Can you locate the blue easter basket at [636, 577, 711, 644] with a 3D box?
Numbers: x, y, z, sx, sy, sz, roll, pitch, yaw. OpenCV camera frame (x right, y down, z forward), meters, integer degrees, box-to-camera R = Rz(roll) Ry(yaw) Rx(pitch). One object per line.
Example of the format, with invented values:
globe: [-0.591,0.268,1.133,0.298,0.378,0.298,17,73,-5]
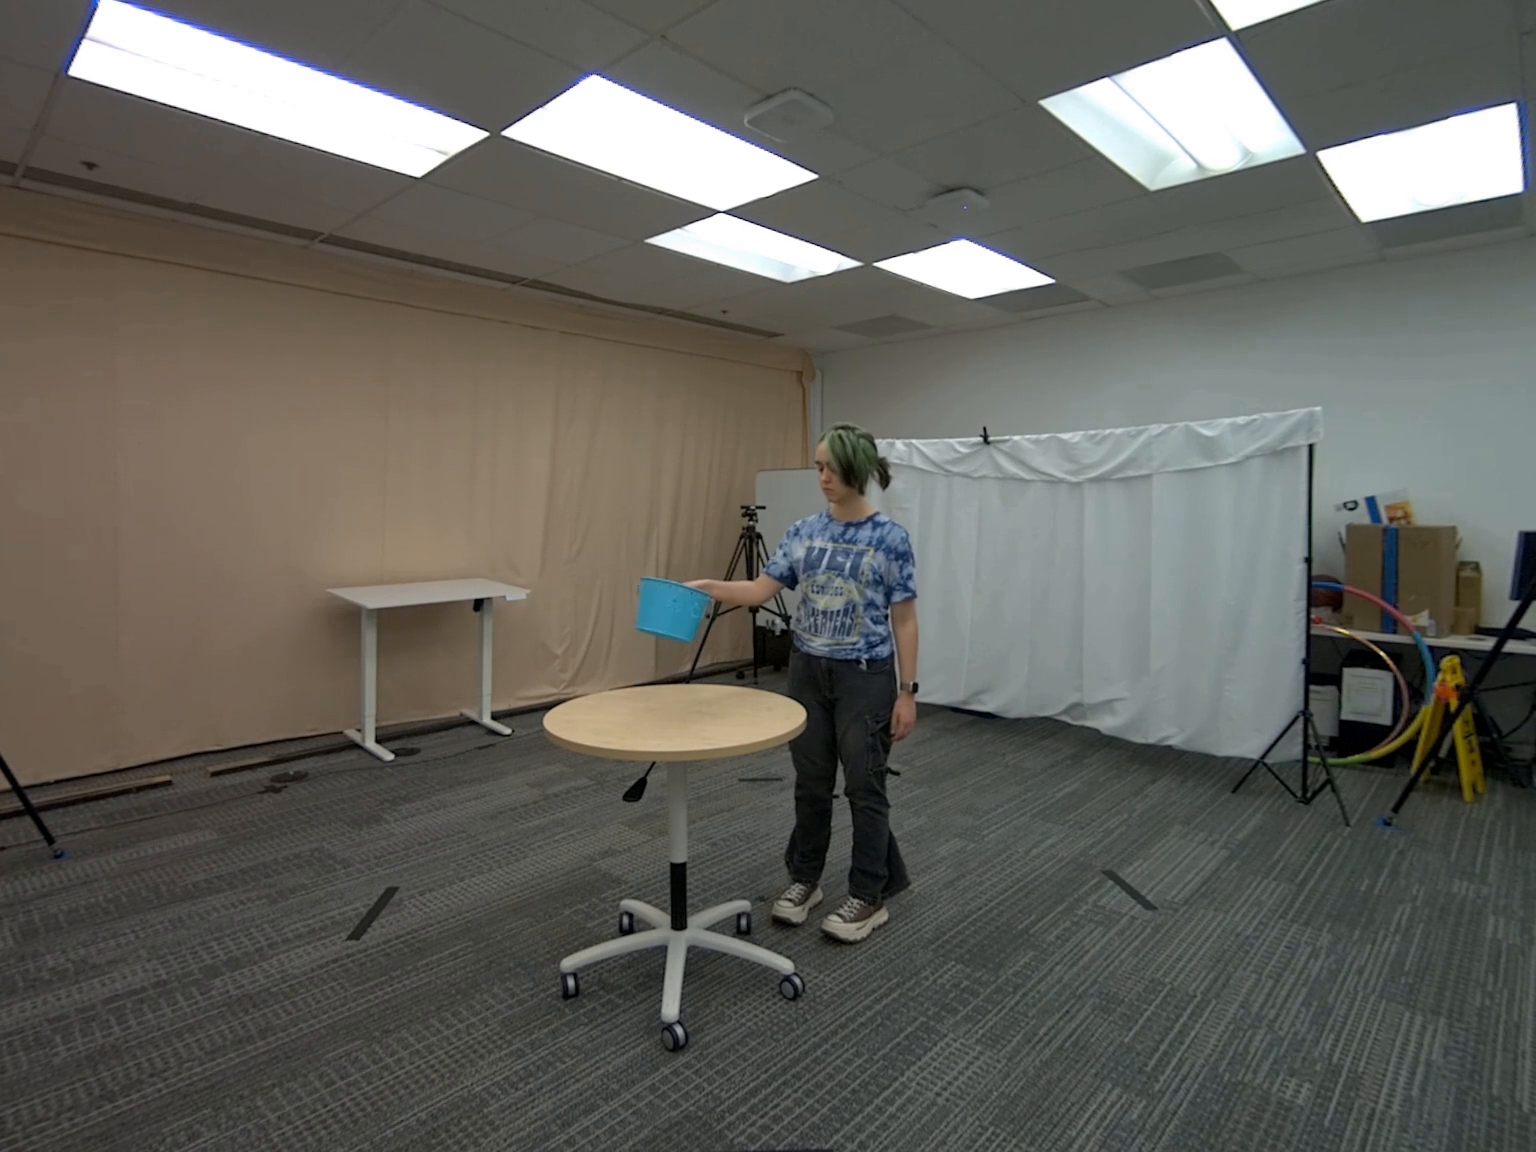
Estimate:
blue easter basket: [-0.292,0.117,2.579,0.244,0.156,0.242,14,-9,0]
